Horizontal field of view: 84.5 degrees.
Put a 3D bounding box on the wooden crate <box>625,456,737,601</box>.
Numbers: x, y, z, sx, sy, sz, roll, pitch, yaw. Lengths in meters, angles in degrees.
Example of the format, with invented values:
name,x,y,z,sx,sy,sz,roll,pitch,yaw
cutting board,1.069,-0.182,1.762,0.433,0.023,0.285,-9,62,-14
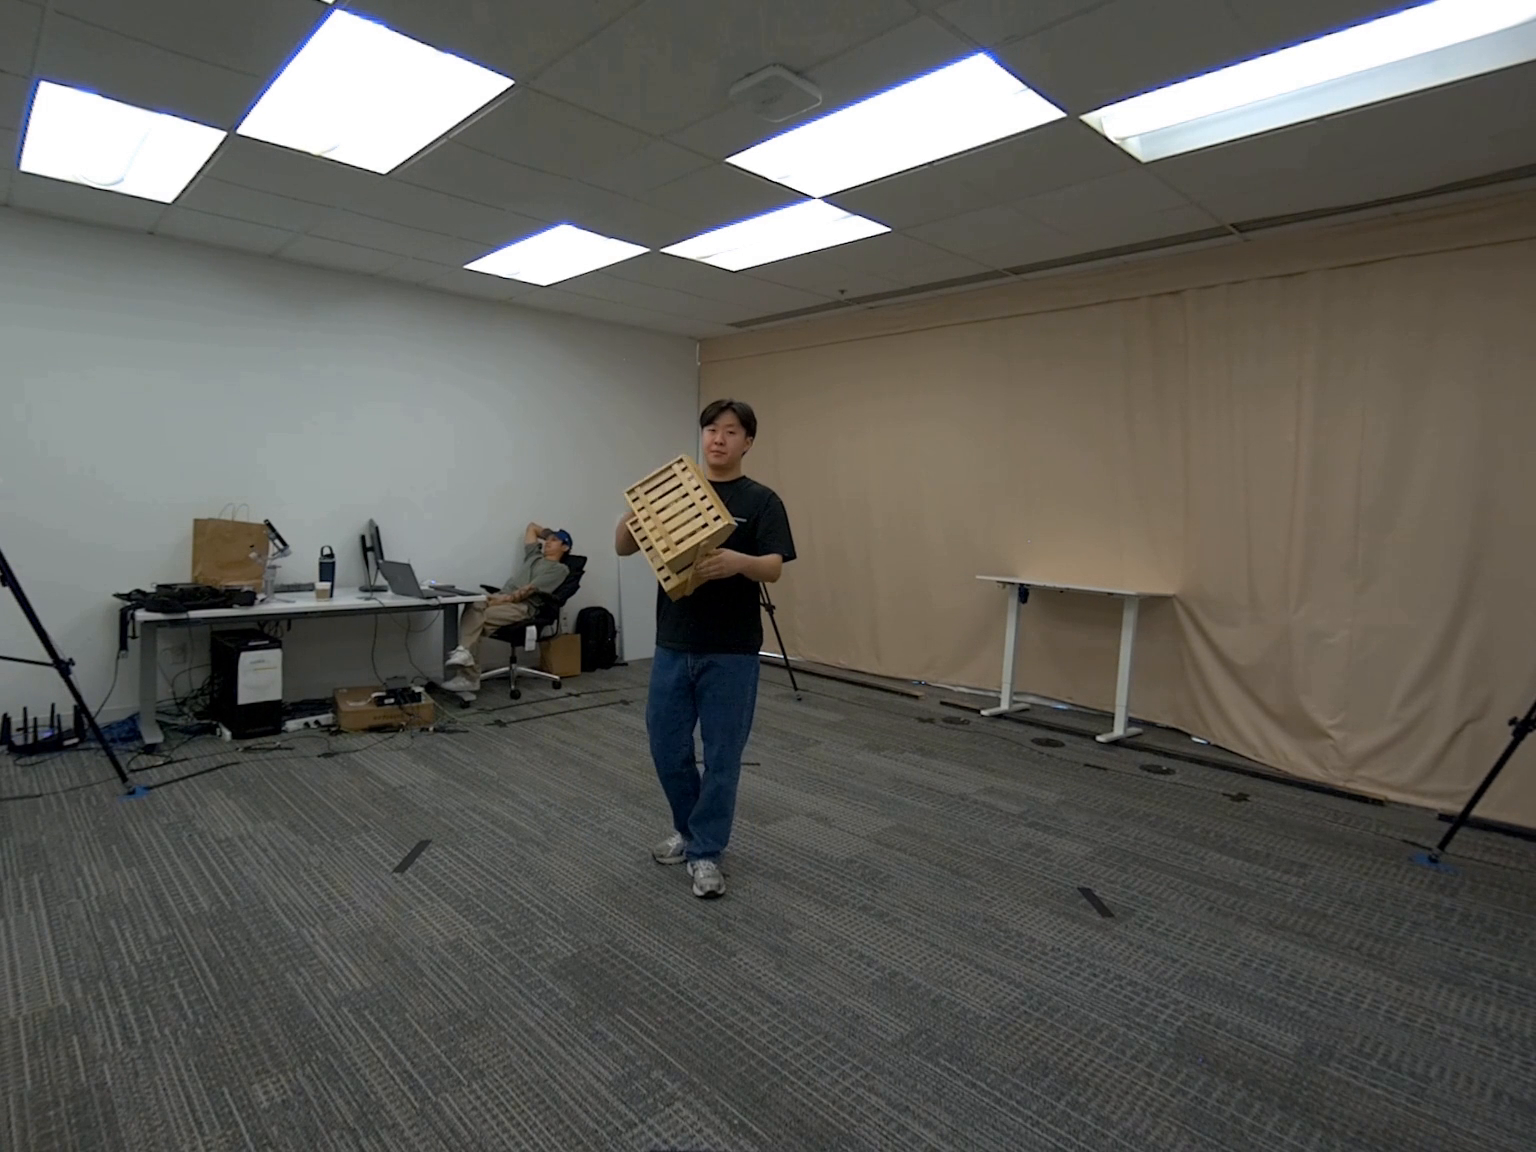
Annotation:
name,x,y,z,sx,sy,sz,roll,pitch,yaw
wooden crate,-0.293,-0.154,2.724,0.302,0.333,0.266,-32,-26,-2
